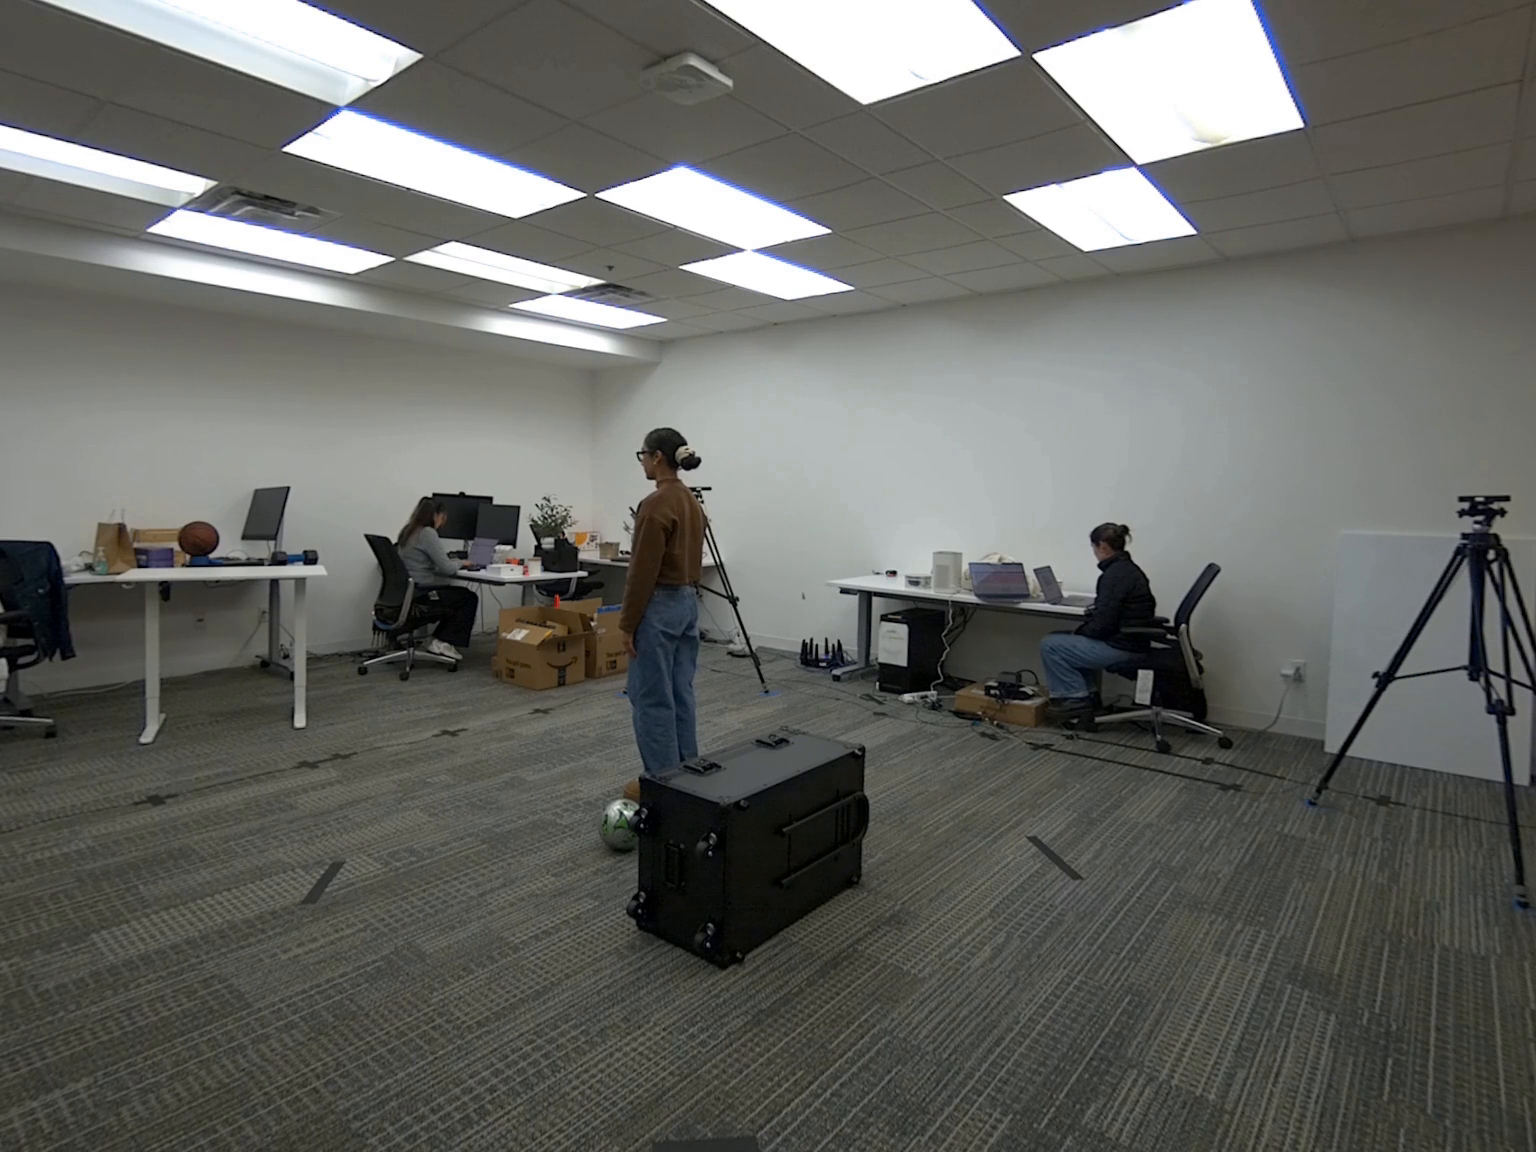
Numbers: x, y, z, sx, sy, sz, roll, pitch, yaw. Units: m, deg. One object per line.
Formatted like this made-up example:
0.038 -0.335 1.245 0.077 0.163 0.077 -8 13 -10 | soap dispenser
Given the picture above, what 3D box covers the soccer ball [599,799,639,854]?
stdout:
-0.583 0.947 3.270 0.187 0.187 0.188 1 4 -2 | soccer ball
